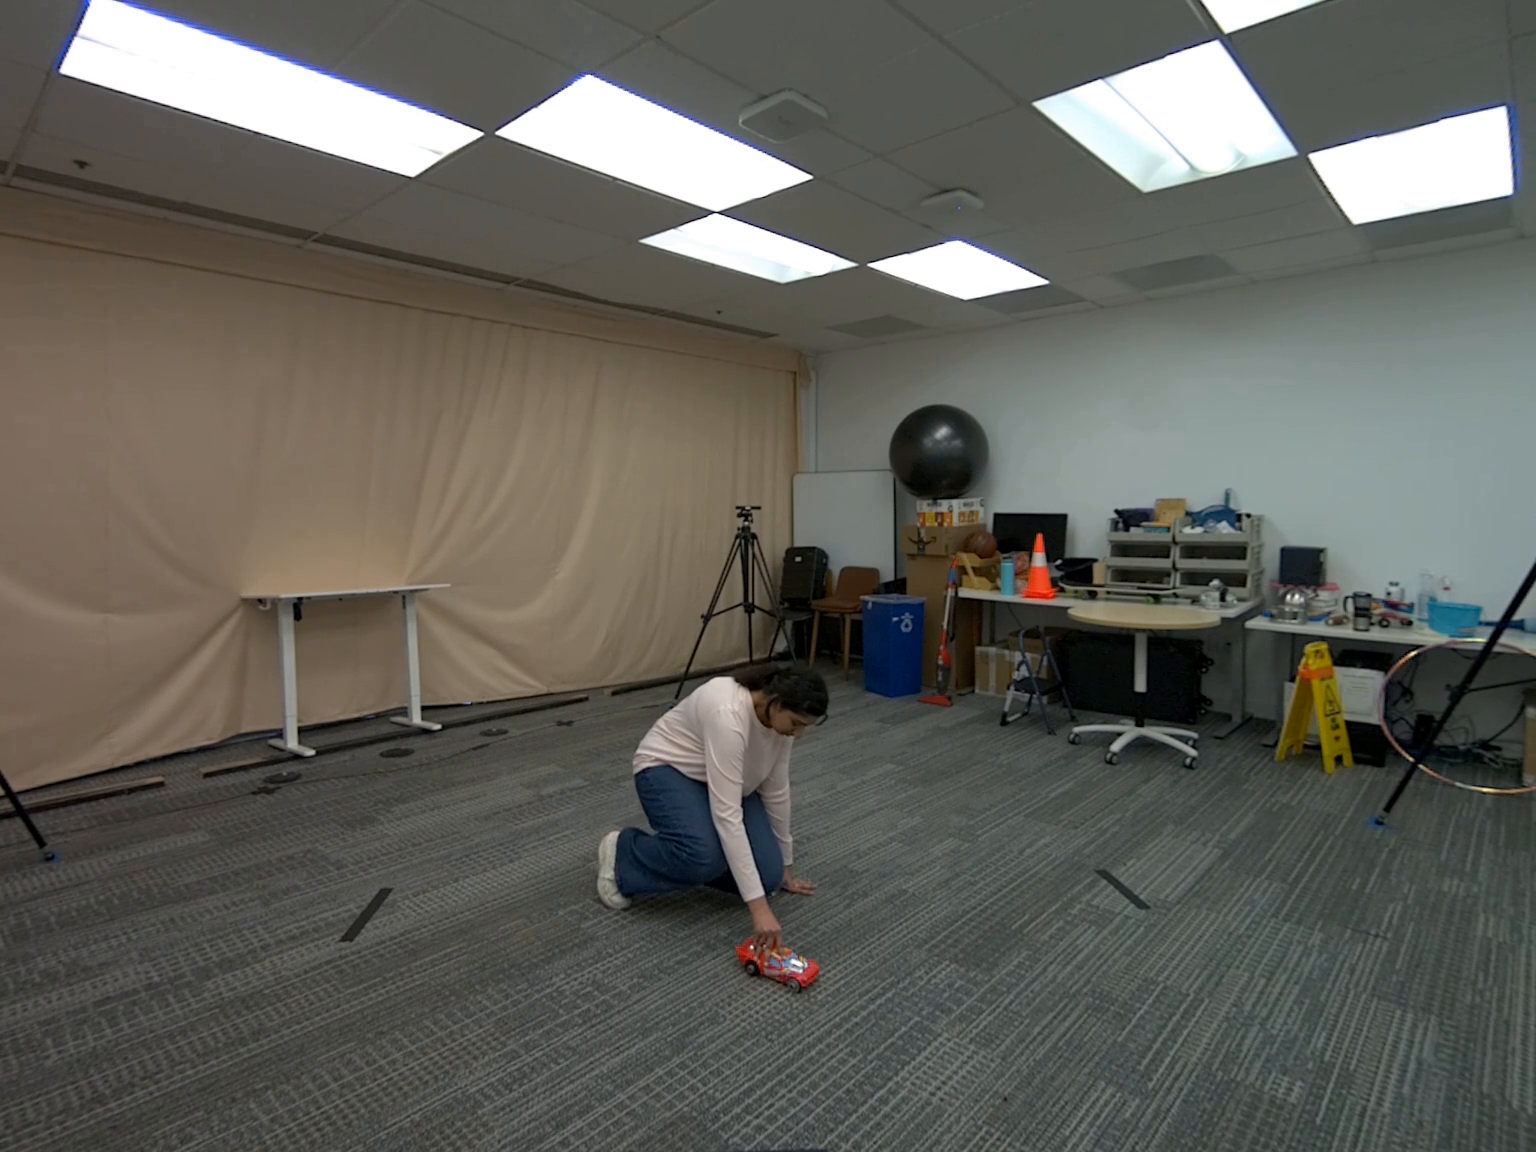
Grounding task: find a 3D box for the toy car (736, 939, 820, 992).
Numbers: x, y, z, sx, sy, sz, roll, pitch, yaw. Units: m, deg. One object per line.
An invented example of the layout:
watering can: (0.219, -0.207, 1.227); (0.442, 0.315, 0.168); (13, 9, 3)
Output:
toy car: (0.026, 1.149, 2.509); (0.263, 0.083, 0.126); (15, 13, 35)
